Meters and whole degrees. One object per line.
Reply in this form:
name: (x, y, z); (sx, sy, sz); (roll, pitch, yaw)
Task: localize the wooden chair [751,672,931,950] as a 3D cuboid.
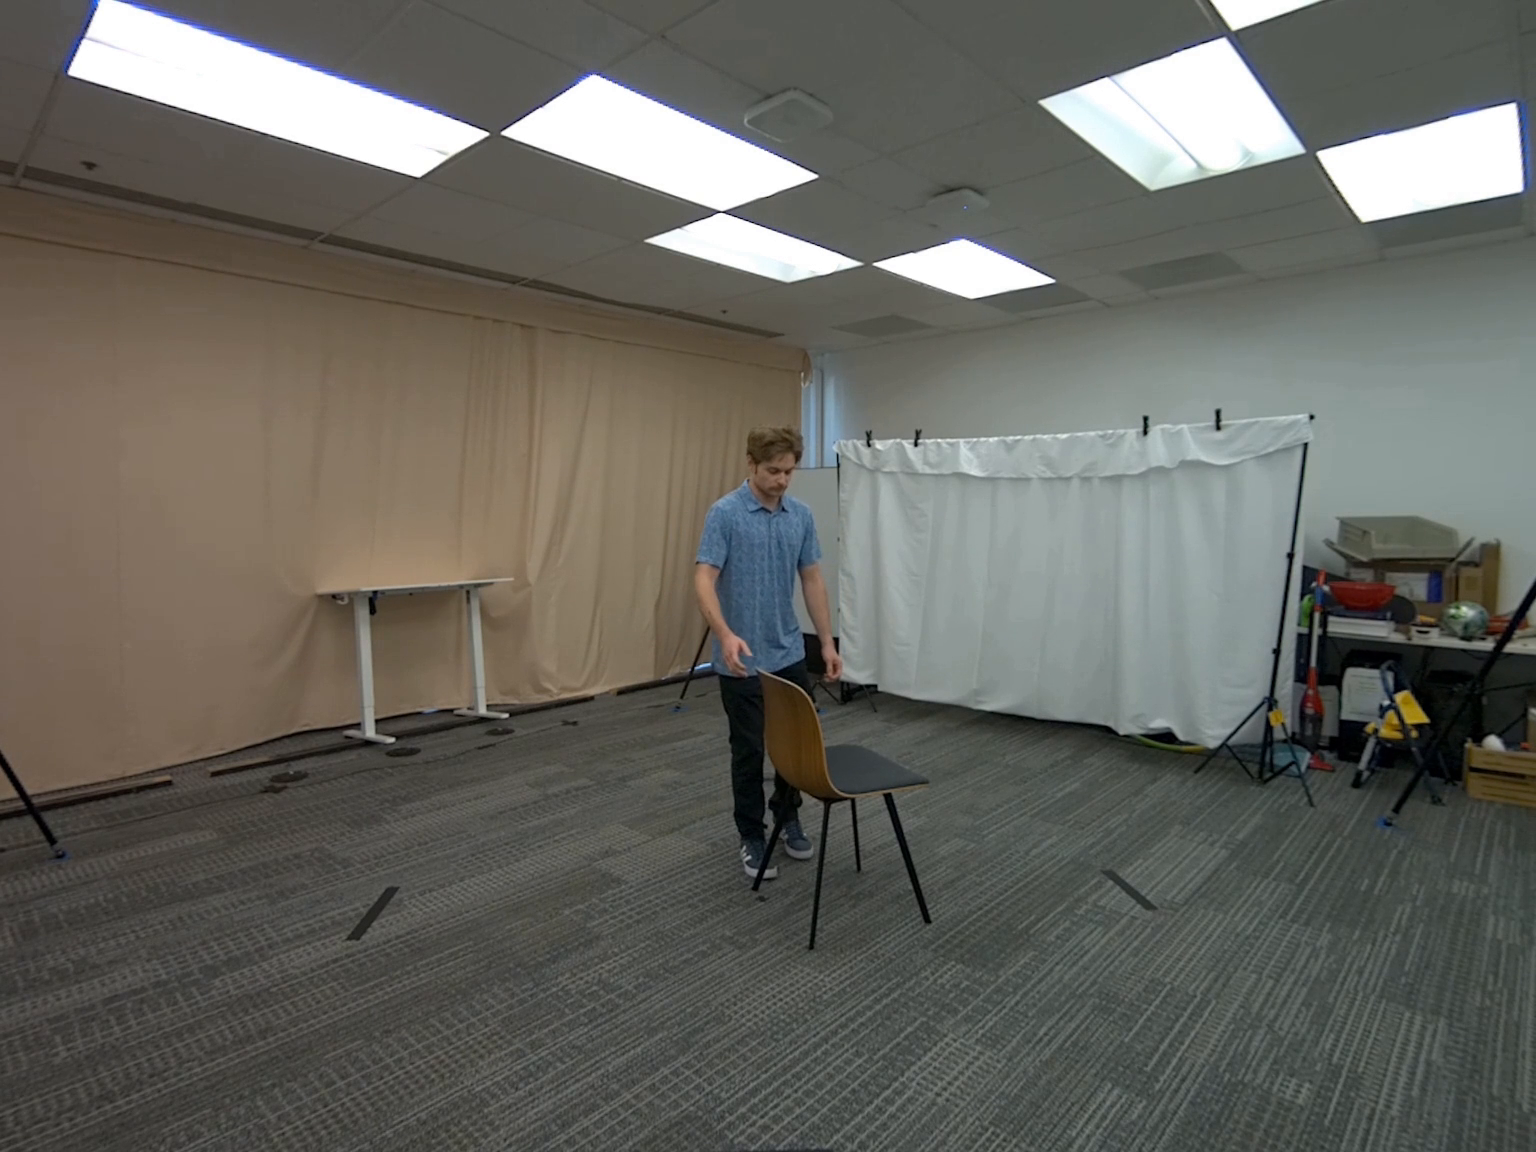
wooden chair: (0.255, 0.723, 2.898); (0.512, 0.874, 0.490); (-6, 5, -23)
